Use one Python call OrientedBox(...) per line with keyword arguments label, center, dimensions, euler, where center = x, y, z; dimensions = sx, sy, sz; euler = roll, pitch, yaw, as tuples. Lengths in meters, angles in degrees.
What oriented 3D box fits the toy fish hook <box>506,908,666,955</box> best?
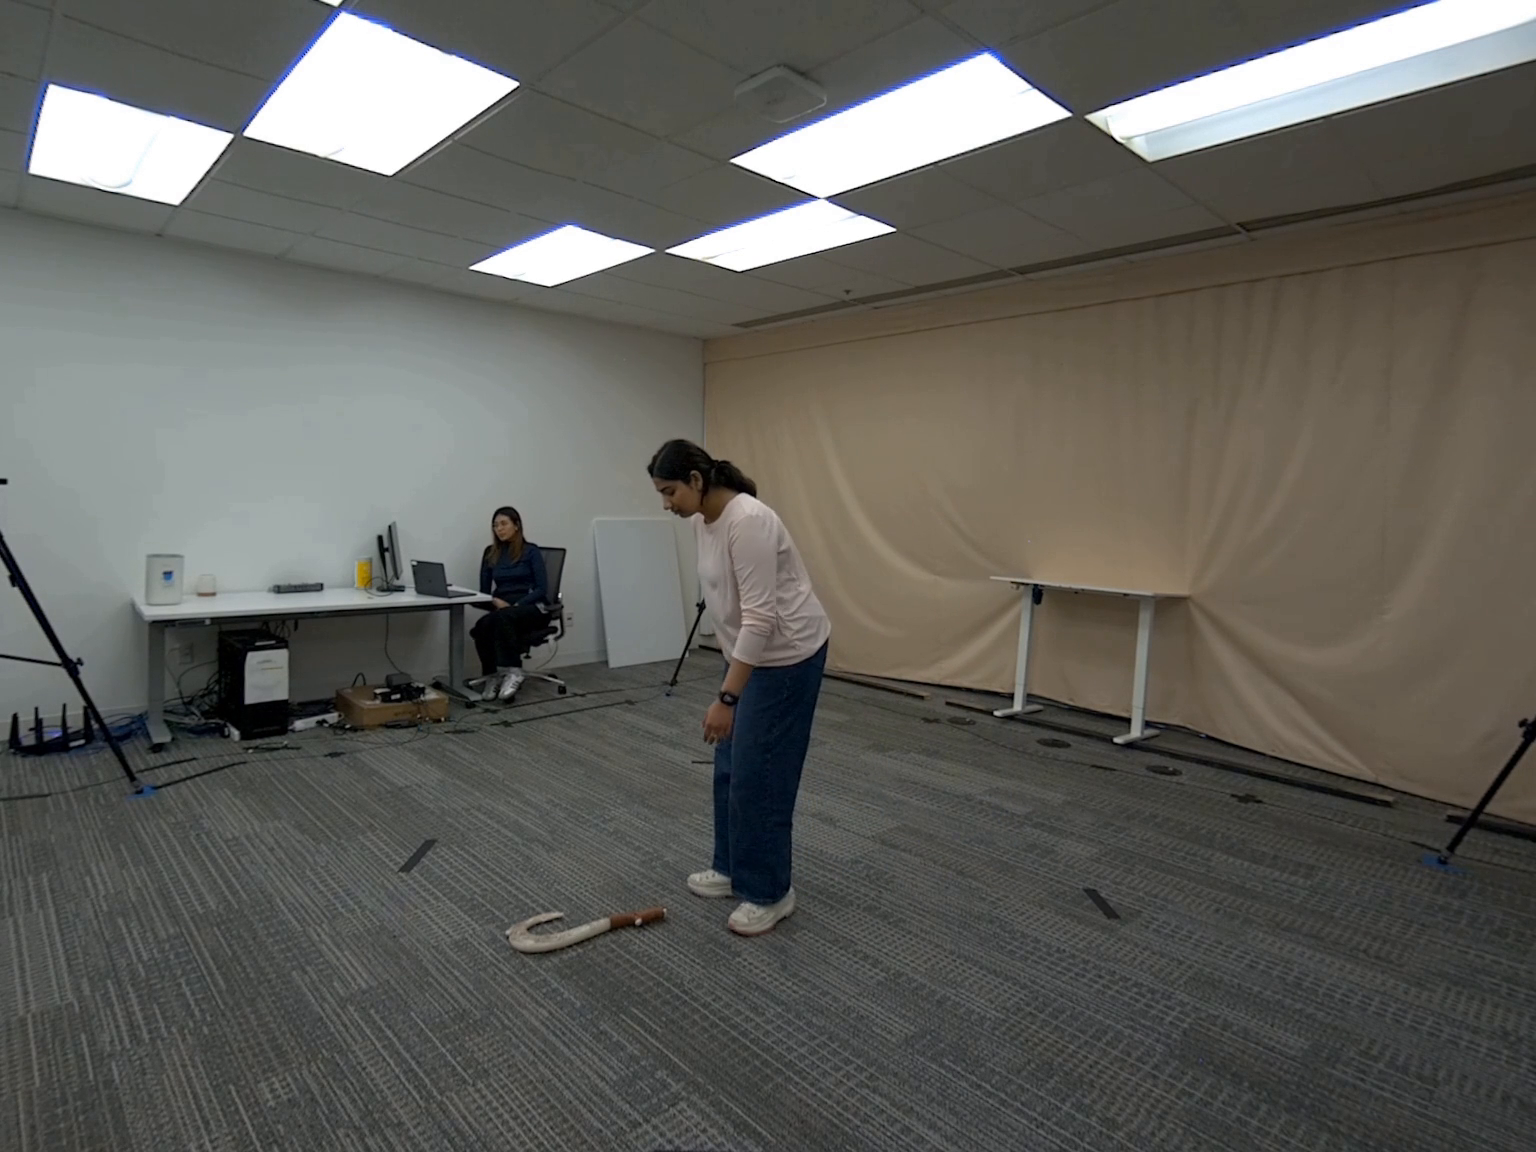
OrientedBox(label="toy fish hook", center=(-0.581, 1.110, 2.705), dimensions=(0.497, 0.048, 0.229), euler=(-1, 6, -27))
